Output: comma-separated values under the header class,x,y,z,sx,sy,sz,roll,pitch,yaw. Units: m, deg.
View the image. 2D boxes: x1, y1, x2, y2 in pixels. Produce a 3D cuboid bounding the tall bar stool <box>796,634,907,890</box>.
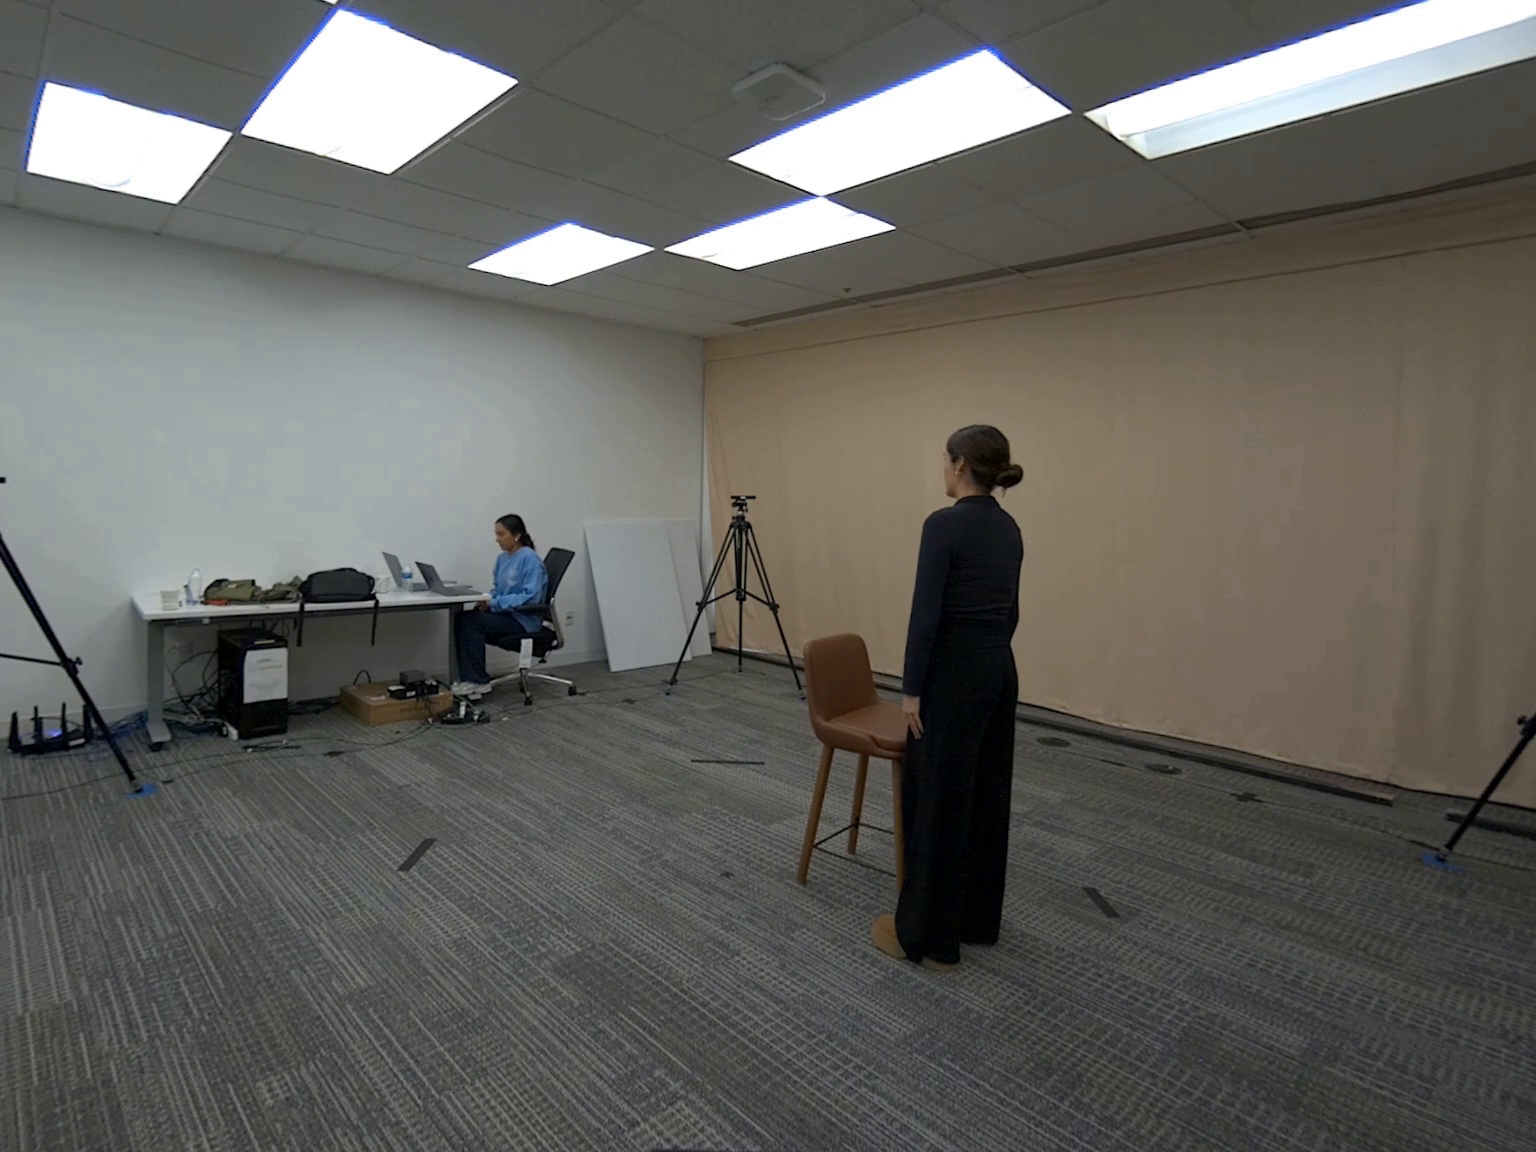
class,x,y,z,sx,sy,sz,roll,pitch,yaw
tall bar stool,0.399,0.686,3.033,0.479,0.888,0.446,3,3,39
